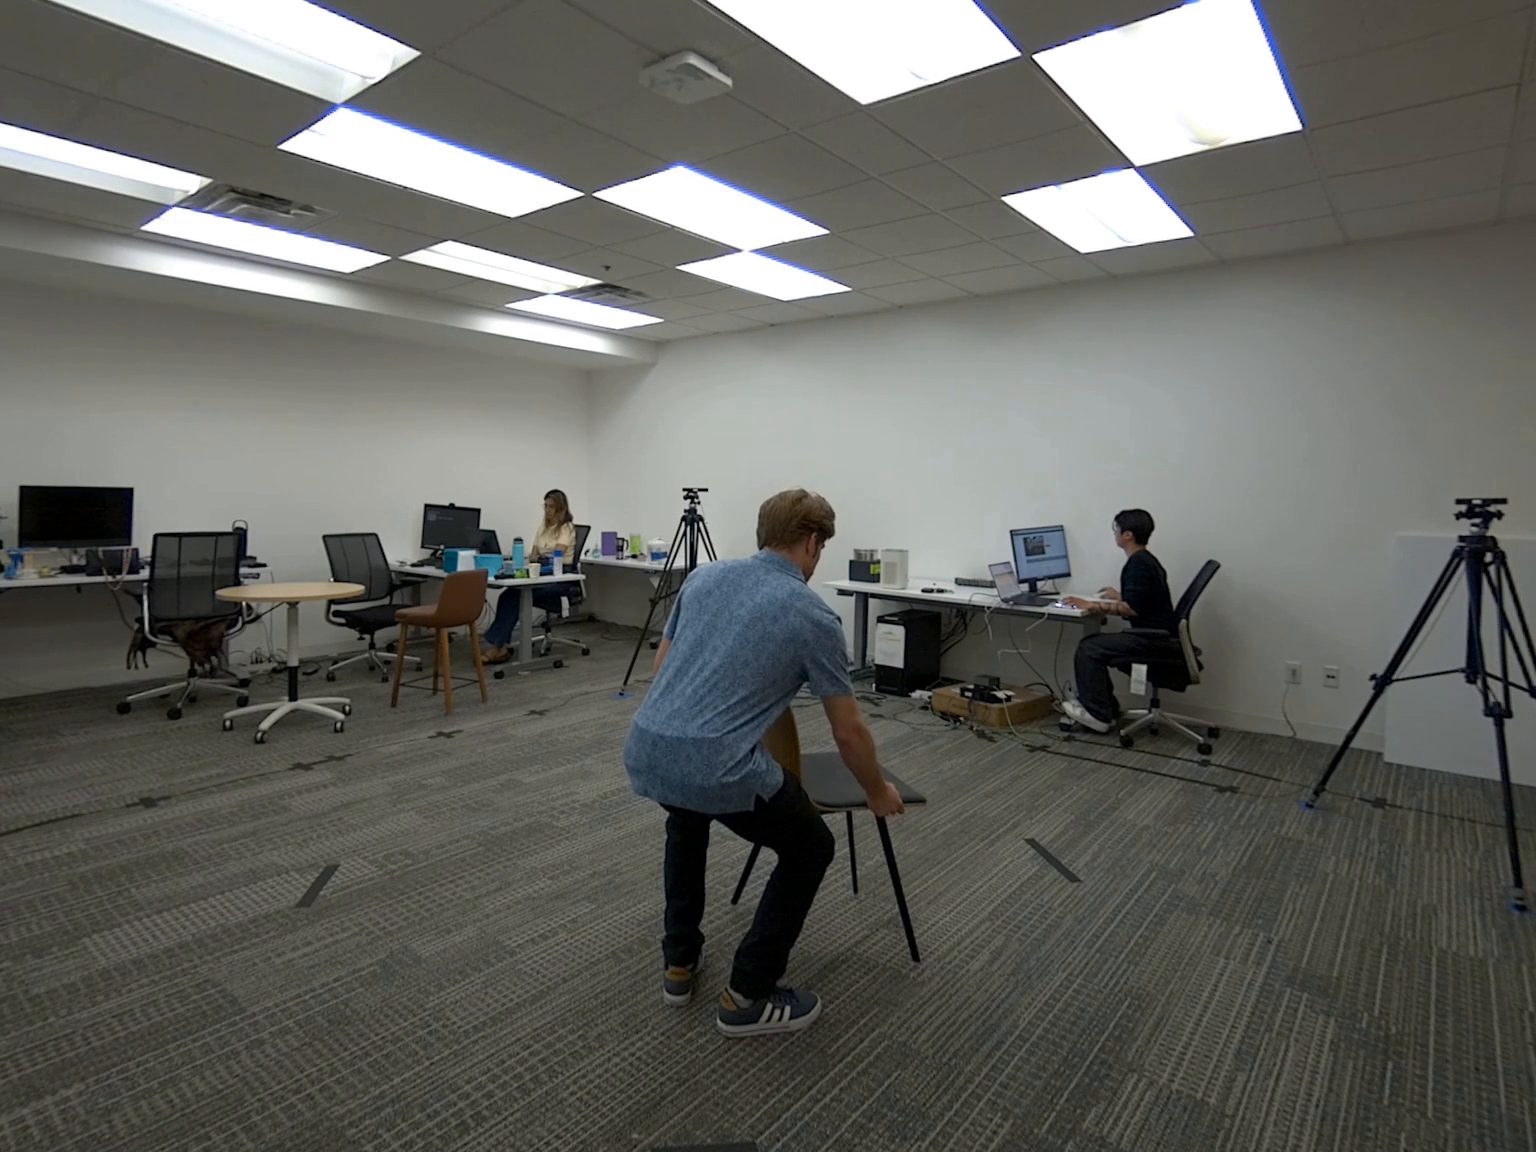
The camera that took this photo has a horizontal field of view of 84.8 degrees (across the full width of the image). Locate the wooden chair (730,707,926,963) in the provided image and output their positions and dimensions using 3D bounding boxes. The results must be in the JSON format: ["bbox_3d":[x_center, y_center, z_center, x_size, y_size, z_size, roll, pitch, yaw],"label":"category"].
[{"bbox_3d":[0.181,0.675,2.645,0.514,0.874,0.488,-3,4,-17],"label":"wooden chair"}]
